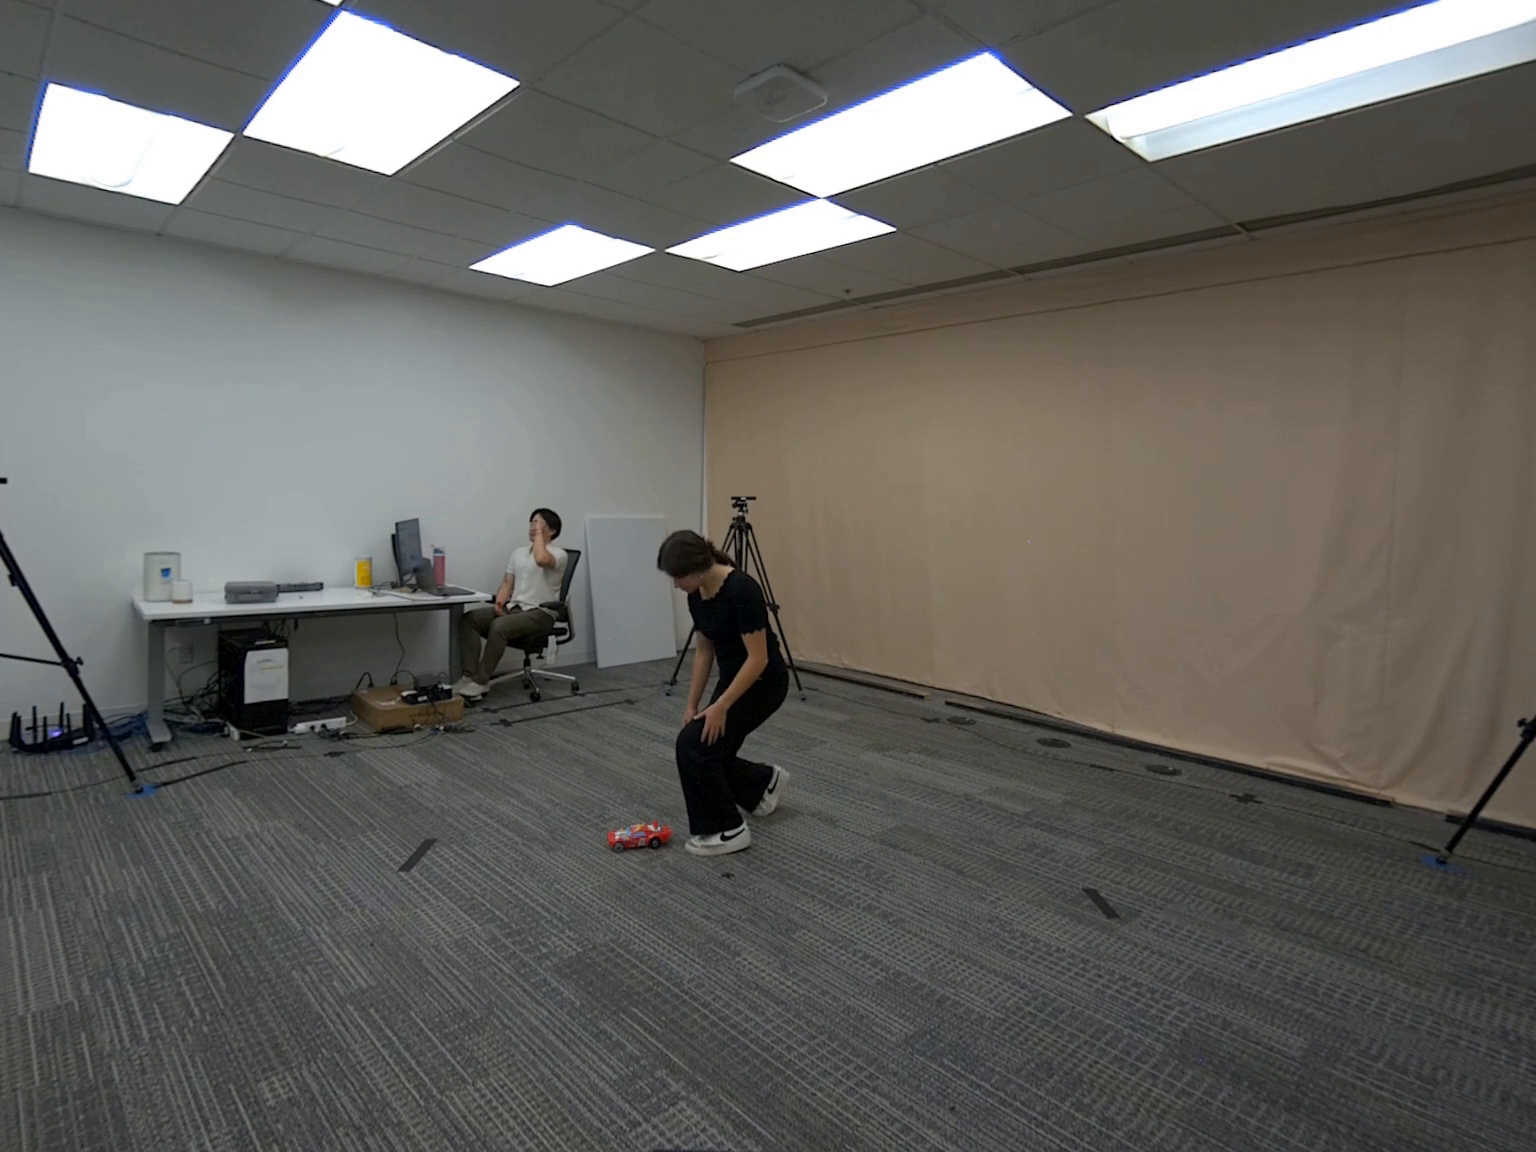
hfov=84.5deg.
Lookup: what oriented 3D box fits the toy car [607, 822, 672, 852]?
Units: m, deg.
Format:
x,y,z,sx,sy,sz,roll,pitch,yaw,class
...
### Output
x,y,z,sx,sy,sz,roll,pitch,yaw,class
-0.515,1.036,3.362,0.252,0.083,0.132,-12,7,-15,toy car
